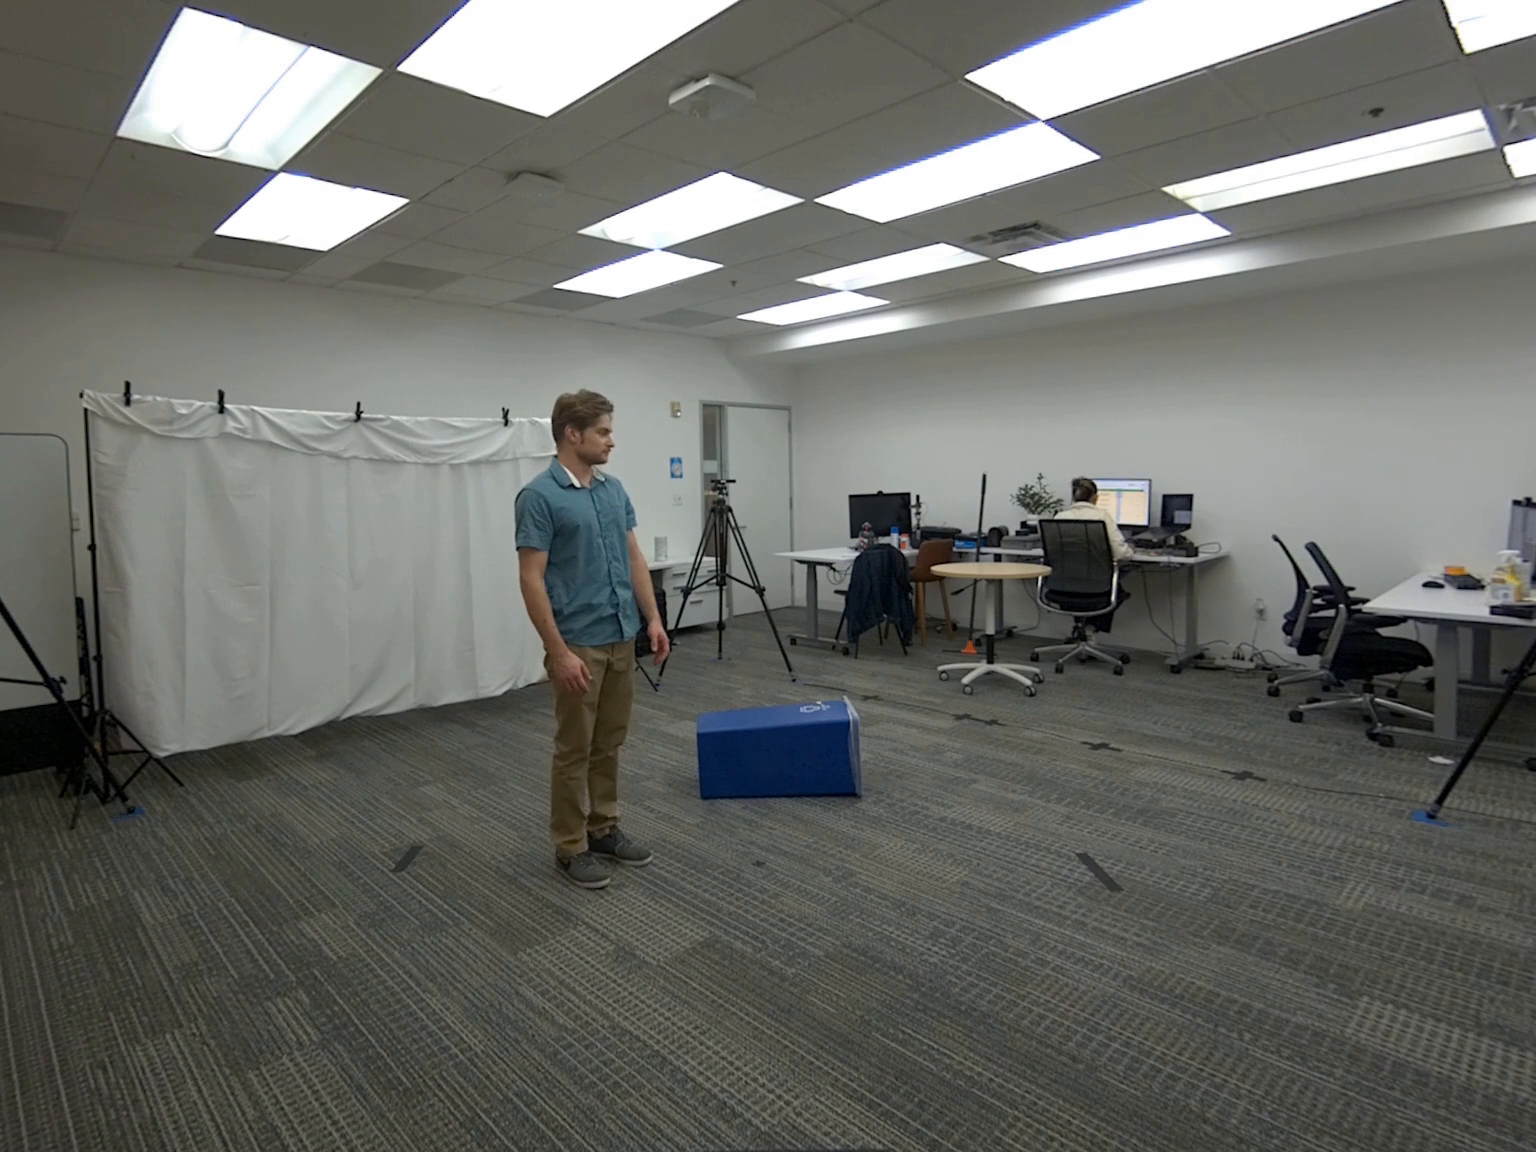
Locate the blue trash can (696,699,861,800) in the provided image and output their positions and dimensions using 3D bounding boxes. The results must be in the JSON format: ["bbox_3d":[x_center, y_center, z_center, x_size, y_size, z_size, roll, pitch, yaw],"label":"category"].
[{"bbox_3d":[0.040,0.793,3.884,0.712,0.376,0.376,-4,5,-2],"label":"blue trash can"}]
